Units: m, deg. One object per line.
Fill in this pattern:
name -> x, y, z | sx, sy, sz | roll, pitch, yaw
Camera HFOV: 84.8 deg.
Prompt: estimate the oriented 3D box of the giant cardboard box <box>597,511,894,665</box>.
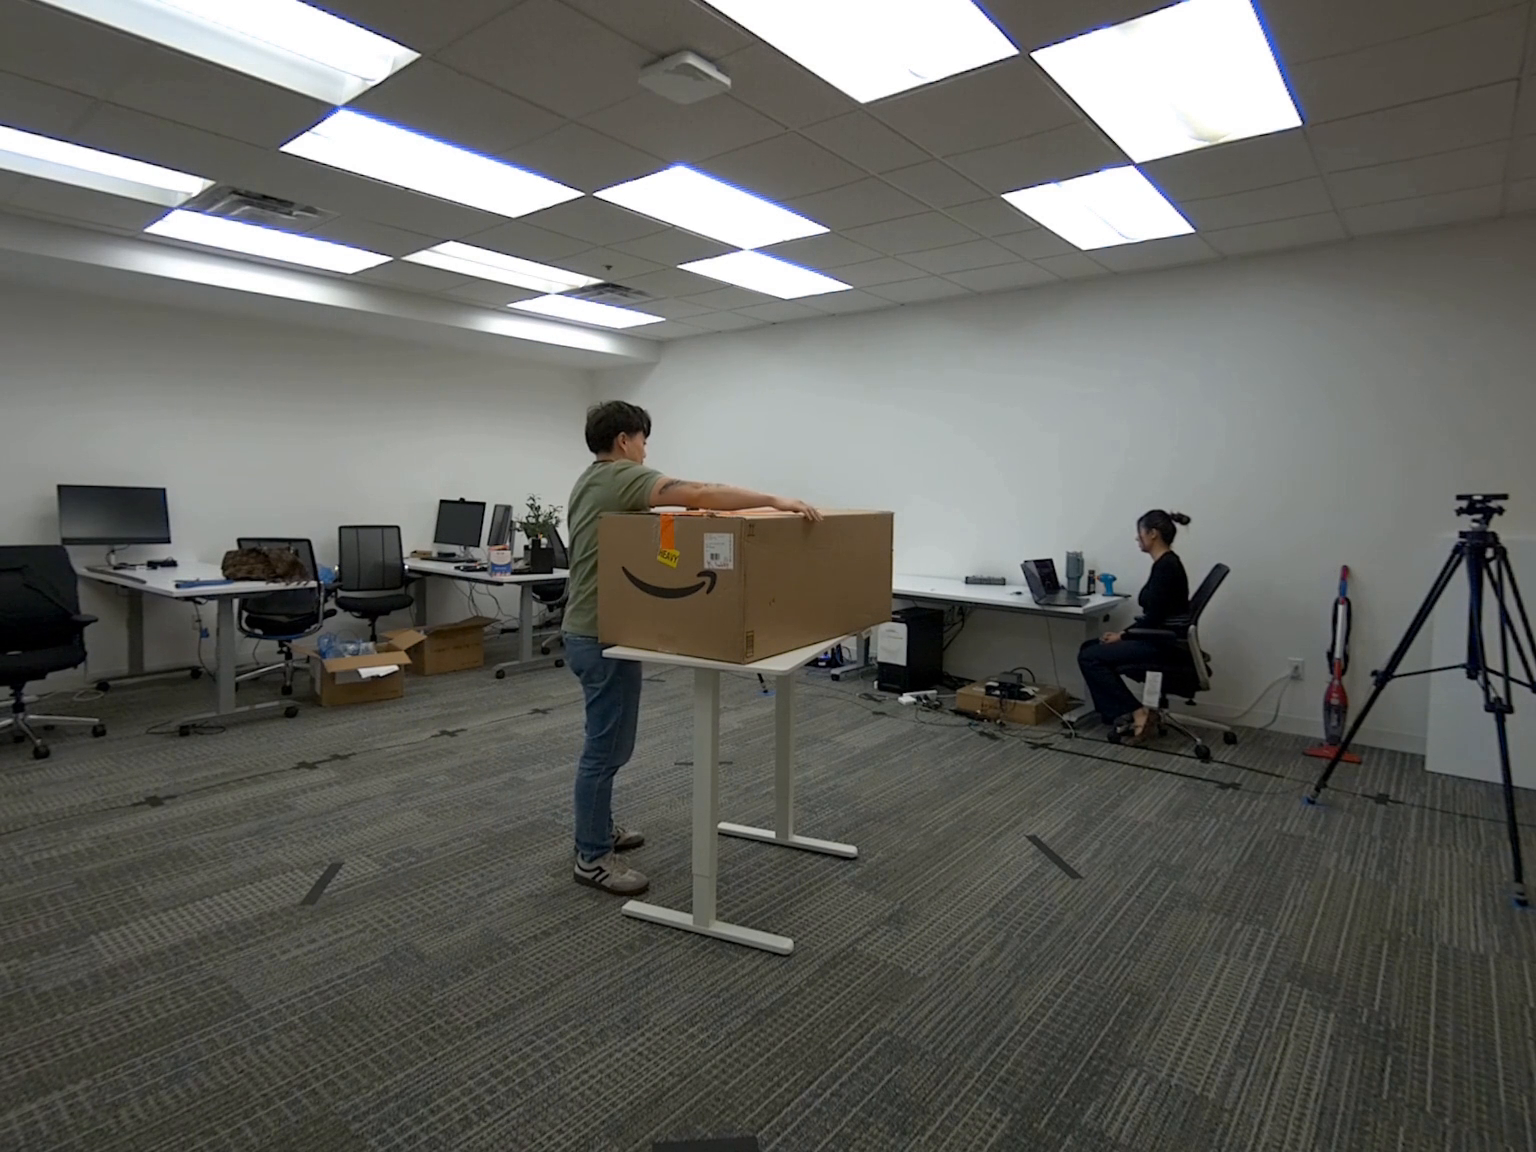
giant cardboard box -> -0.041, -0.017, 2.997 | 0.595, 0.424, 0.999 | 3, 6, 33
